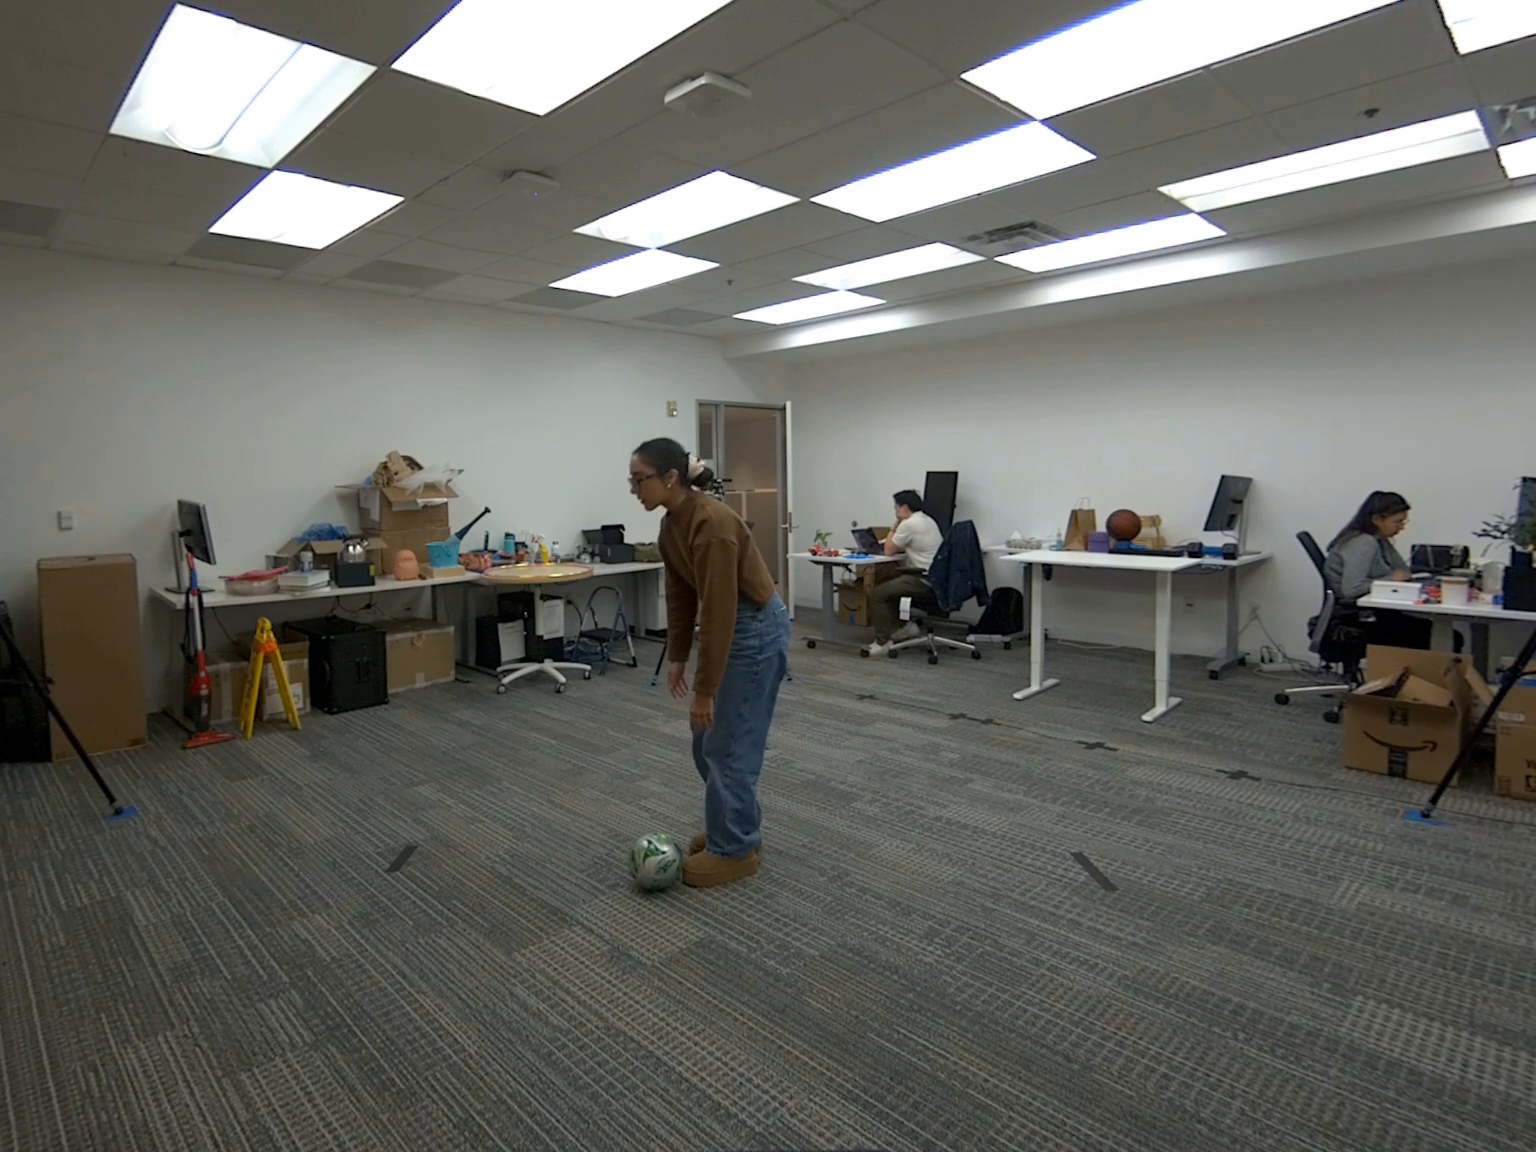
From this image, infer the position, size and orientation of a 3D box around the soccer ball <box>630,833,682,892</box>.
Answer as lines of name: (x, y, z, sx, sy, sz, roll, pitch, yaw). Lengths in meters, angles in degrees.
soccer ball: (-0.379, 0.976, 2.924, 0.187, 0.187, 0.188, -1, 5, -2)
